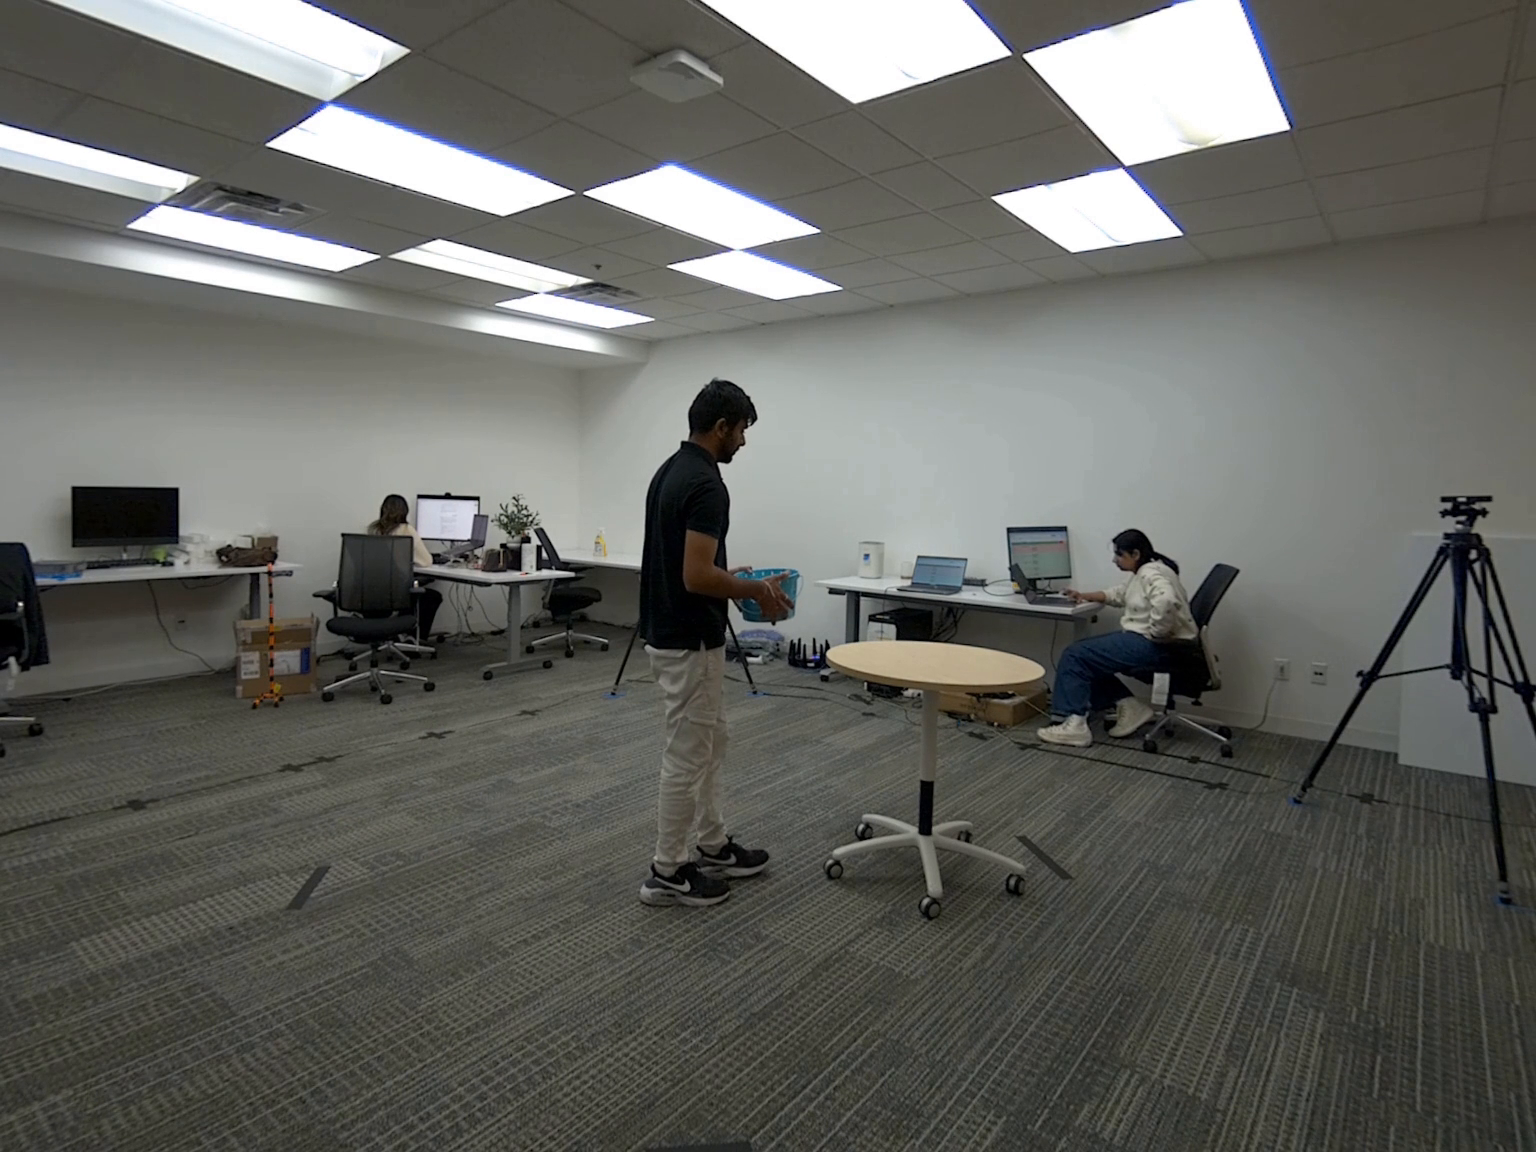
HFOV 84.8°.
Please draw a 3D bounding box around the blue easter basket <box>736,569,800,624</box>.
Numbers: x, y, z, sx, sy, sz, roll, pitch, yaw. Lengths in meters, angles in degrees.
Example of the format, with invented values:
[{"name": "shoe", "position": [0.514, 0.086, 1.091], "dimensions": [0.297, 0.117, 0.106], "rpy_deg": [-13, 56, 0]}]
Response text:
[{"name": "blue easter basket", "position": [-0.034, 0.063, 2.950], "dimensions": [0.243, 0.155, 0.246], "rpy_deg": [0, 8, -2]}]
